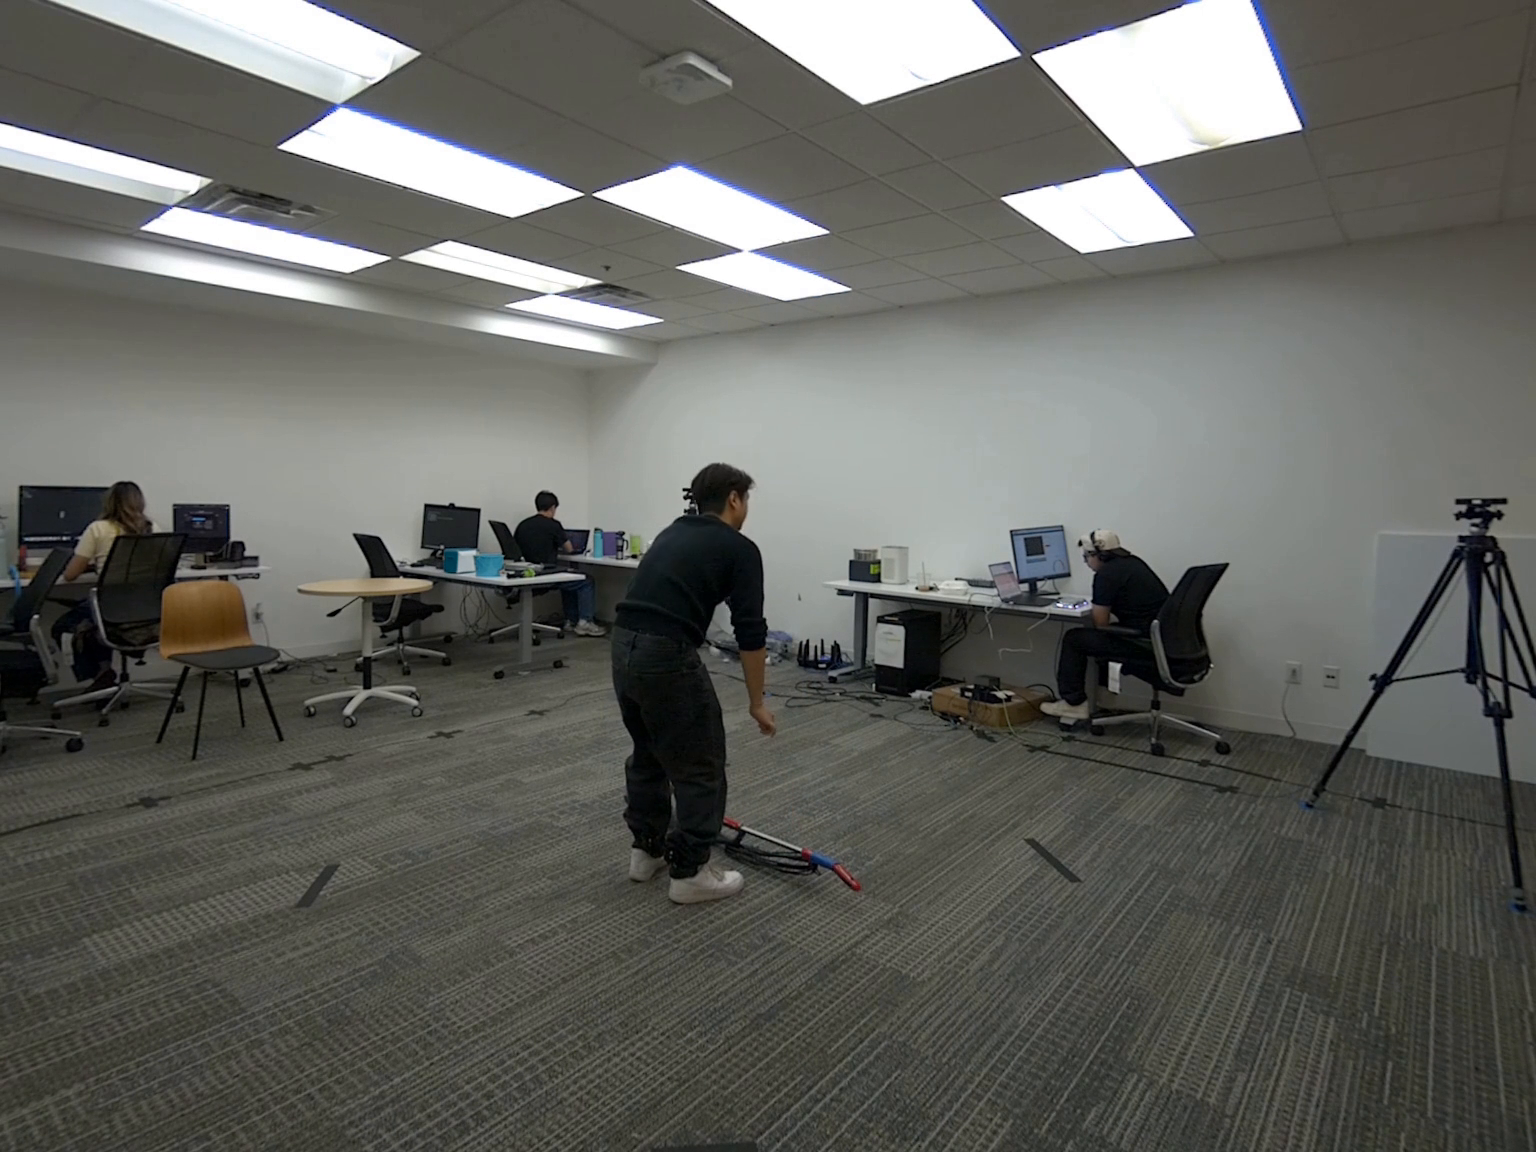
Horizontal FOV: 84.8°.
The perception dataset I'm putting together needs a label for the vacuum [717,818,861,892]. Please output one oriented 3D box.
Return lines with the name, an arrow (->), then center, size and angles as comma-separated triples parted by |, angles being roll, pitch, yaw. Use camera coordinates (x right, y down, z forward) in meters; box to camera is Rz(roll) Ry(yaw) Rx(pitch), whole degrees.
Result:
vacuum -> -0.093, 0.996, 3.221 | 1.086, 0.143, 0.246 | 7, 12, 42
